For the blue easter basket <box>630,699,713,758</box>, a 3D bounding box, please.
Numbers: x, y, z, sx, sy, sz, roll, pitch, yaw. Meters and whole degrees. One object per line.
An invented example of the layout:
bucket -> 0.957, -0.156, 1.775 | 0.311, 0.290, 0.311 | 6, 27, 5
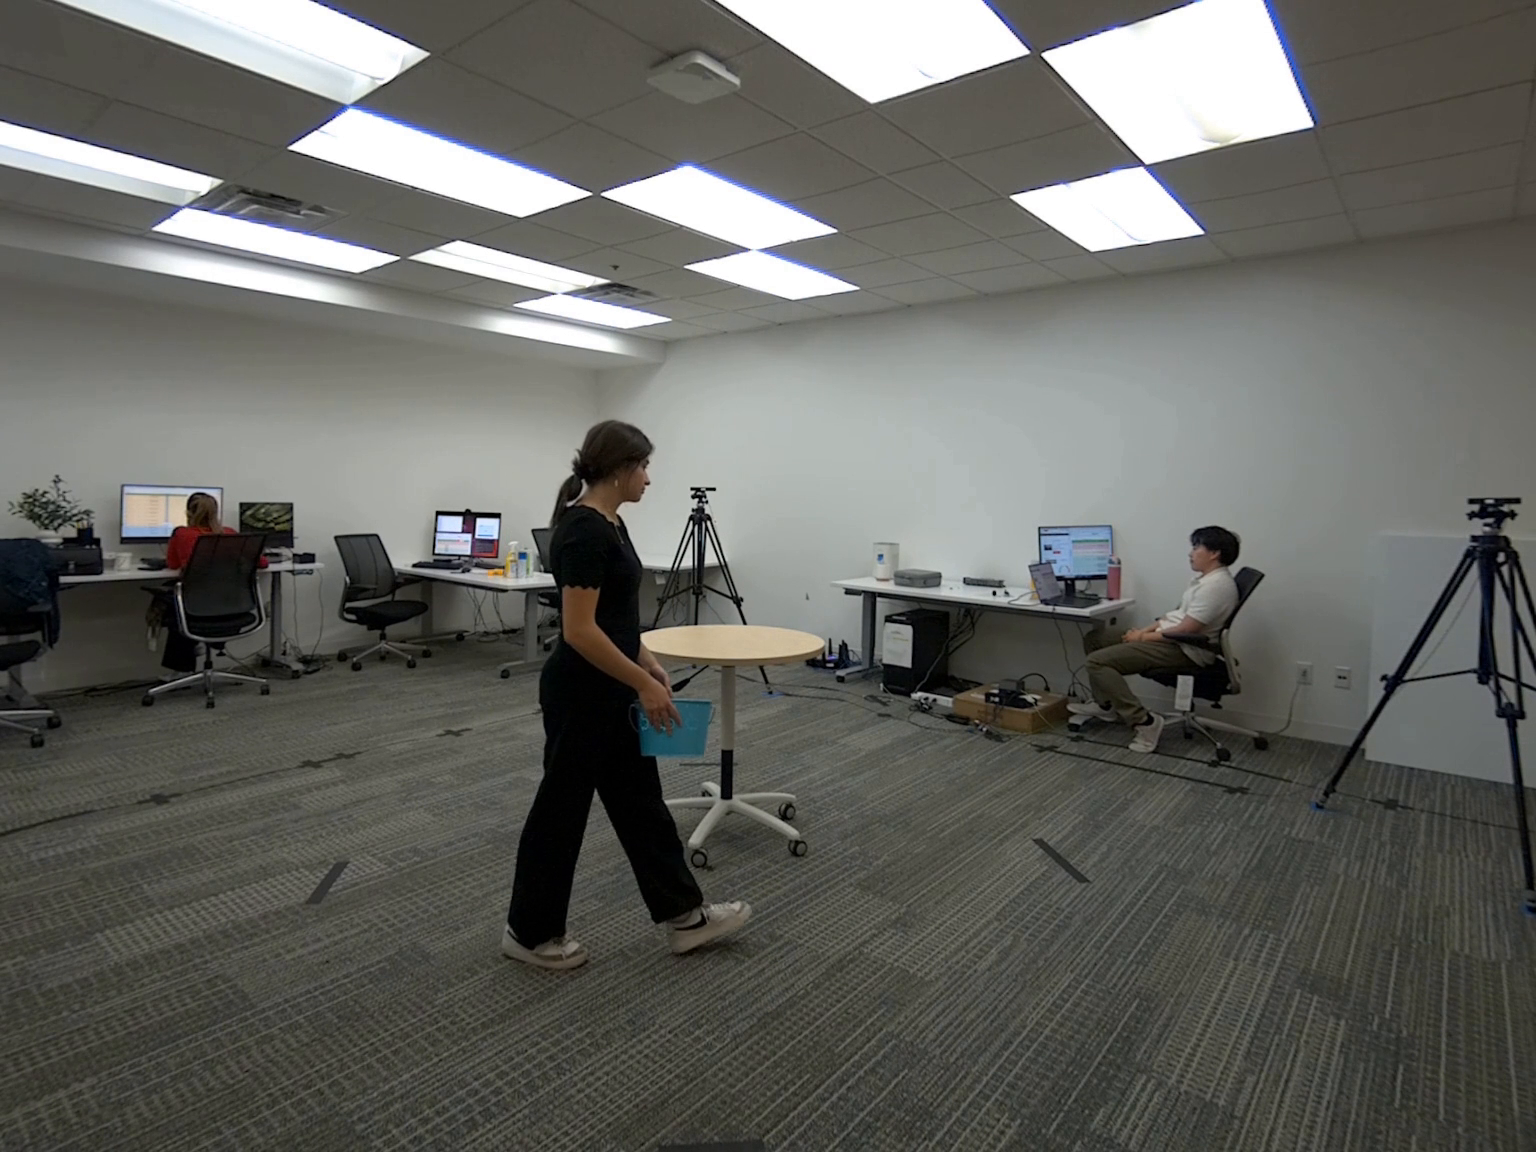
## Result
blue easter basket -> -0.289, 0.439, 2.436 | 0.243, 0.158, 0.240 | 0, -13, -2
